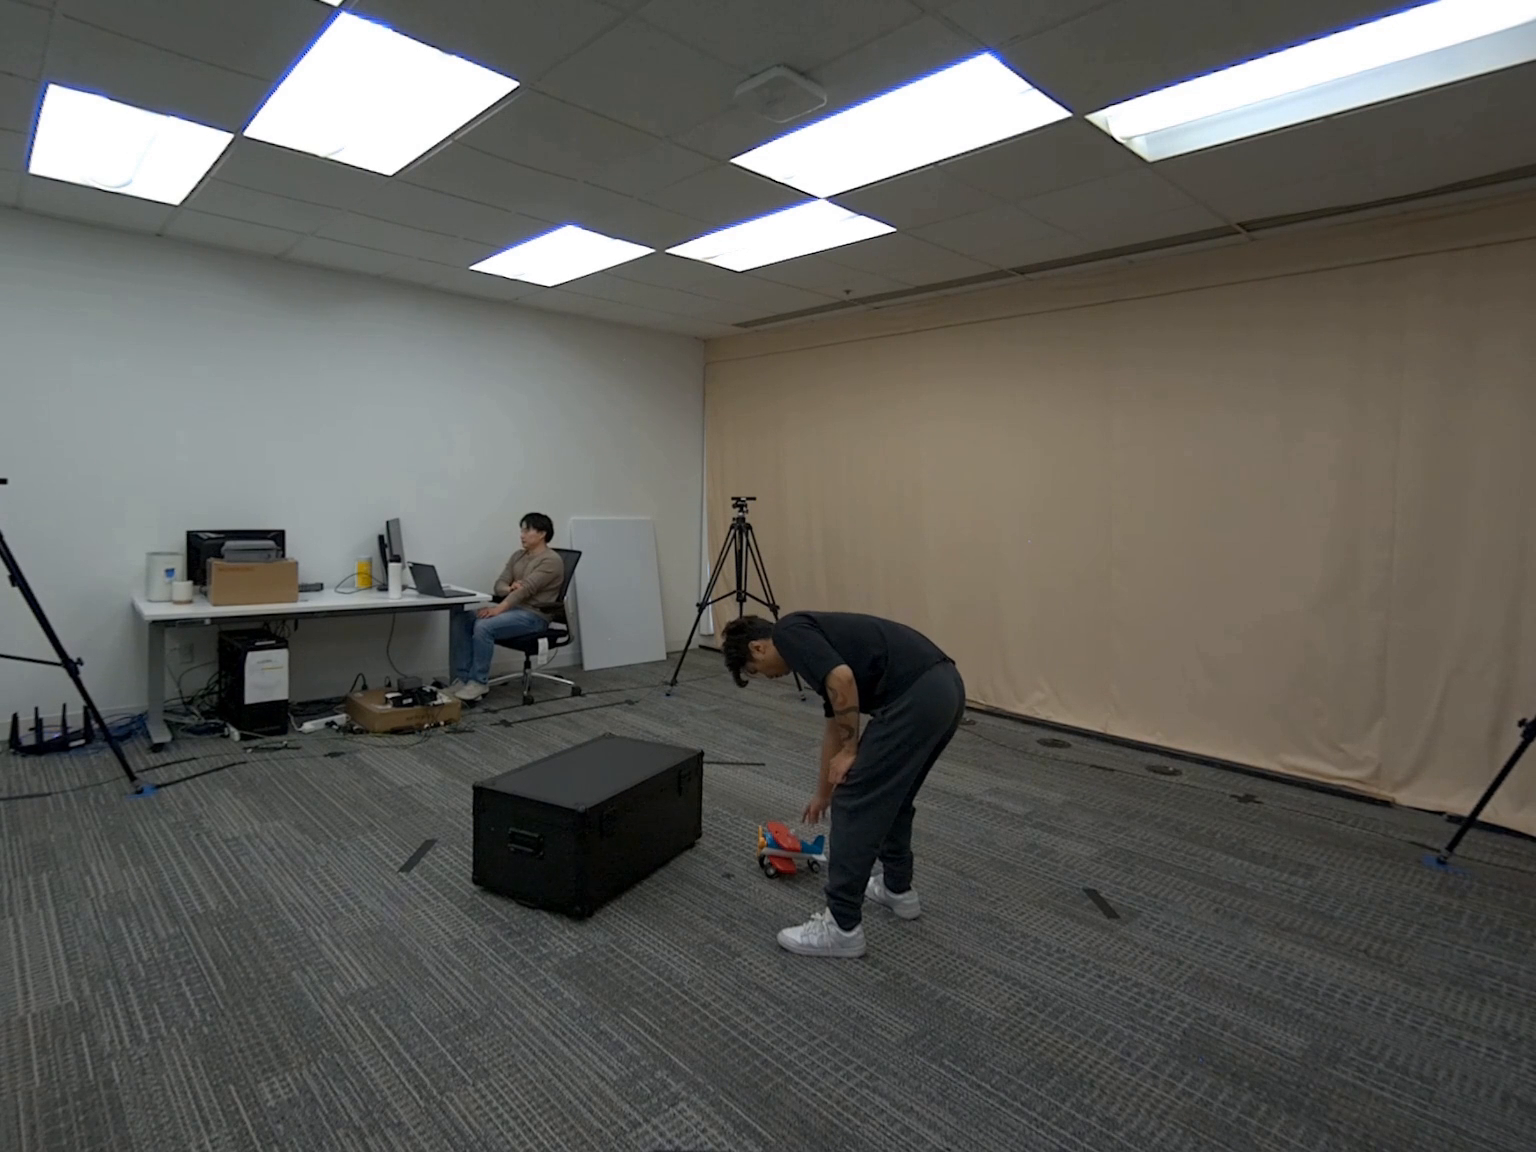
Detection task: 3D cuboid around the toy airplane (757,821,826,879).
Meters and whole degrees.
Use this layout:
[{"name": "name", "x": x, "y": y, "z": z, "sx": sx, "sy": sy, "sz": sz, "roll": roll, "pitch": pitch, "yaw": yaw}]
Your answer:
[{"name": "toy airplane", "x": 0.067, "y": 1.027, "z": 3.173, "sx": 0.253, "sy": 0.156, "sz": 0.257, "roll": -4, "pitch": 7, "yaw": -41}]
